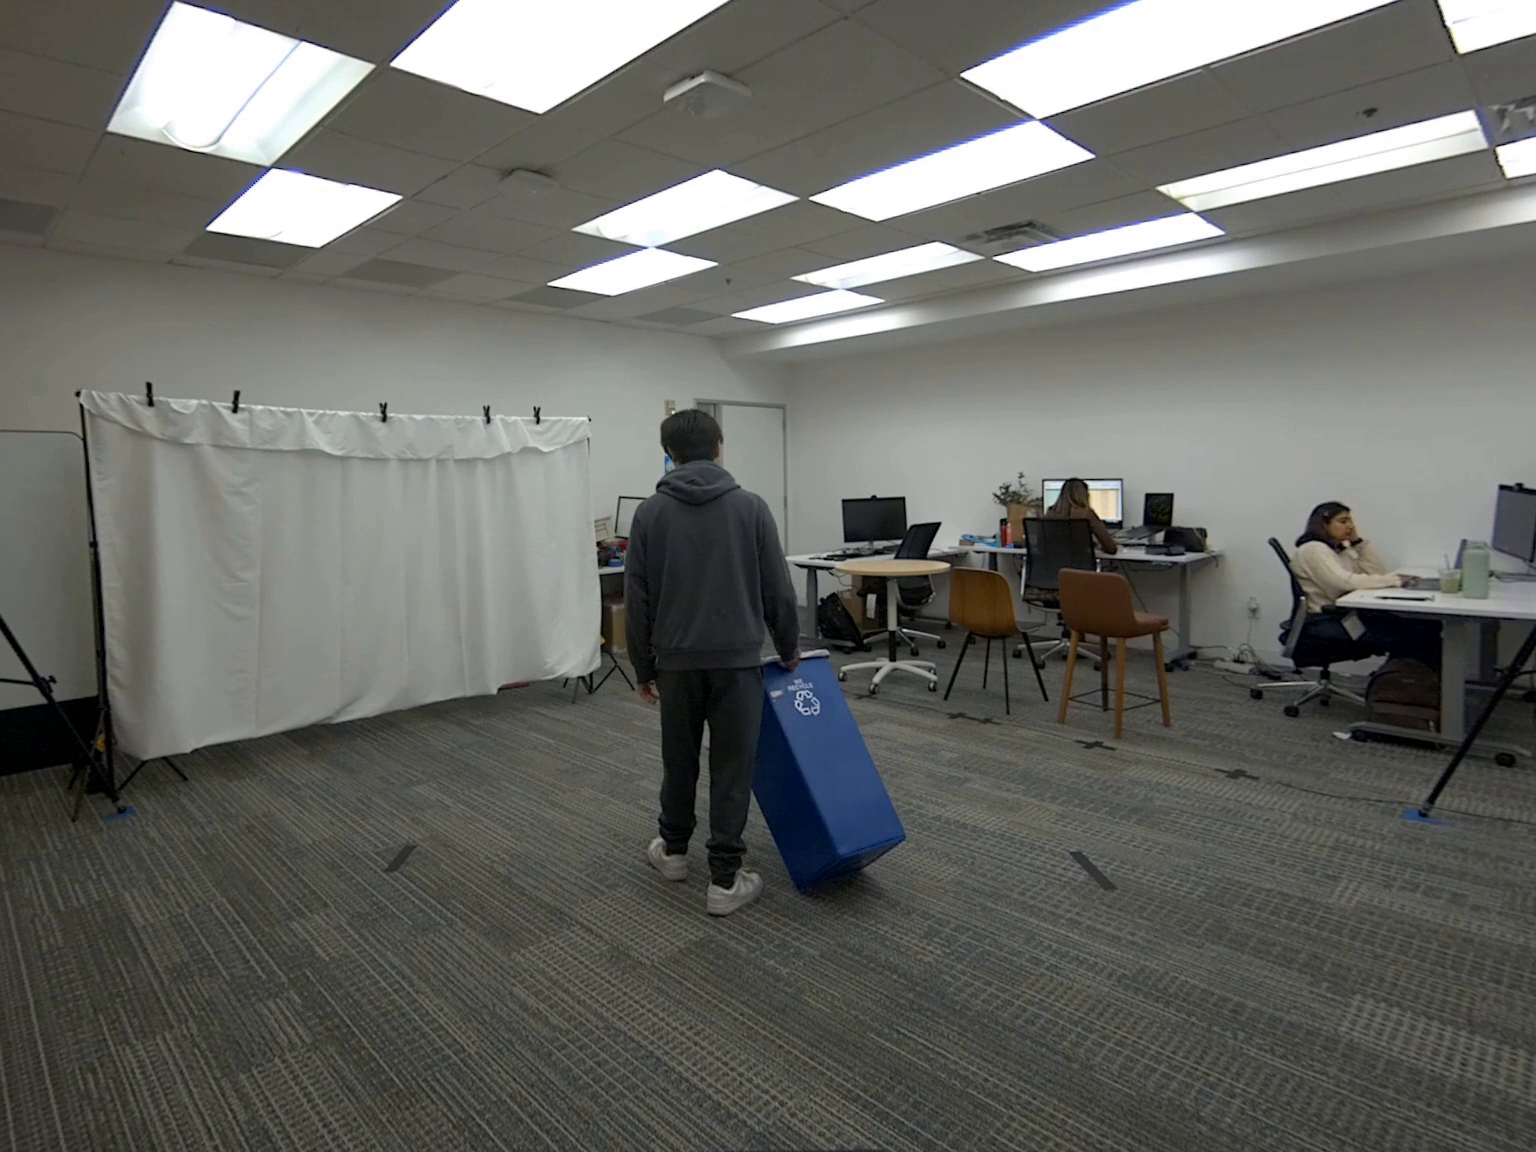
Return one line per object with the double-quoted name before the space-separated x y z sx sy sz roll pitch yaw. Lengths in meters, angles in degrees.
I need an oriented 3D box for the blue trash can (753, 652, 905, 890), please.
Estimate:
"blue trash can" 0.151 0.678 3.053 0.364 0.736 0.376 -4 -35 -35
